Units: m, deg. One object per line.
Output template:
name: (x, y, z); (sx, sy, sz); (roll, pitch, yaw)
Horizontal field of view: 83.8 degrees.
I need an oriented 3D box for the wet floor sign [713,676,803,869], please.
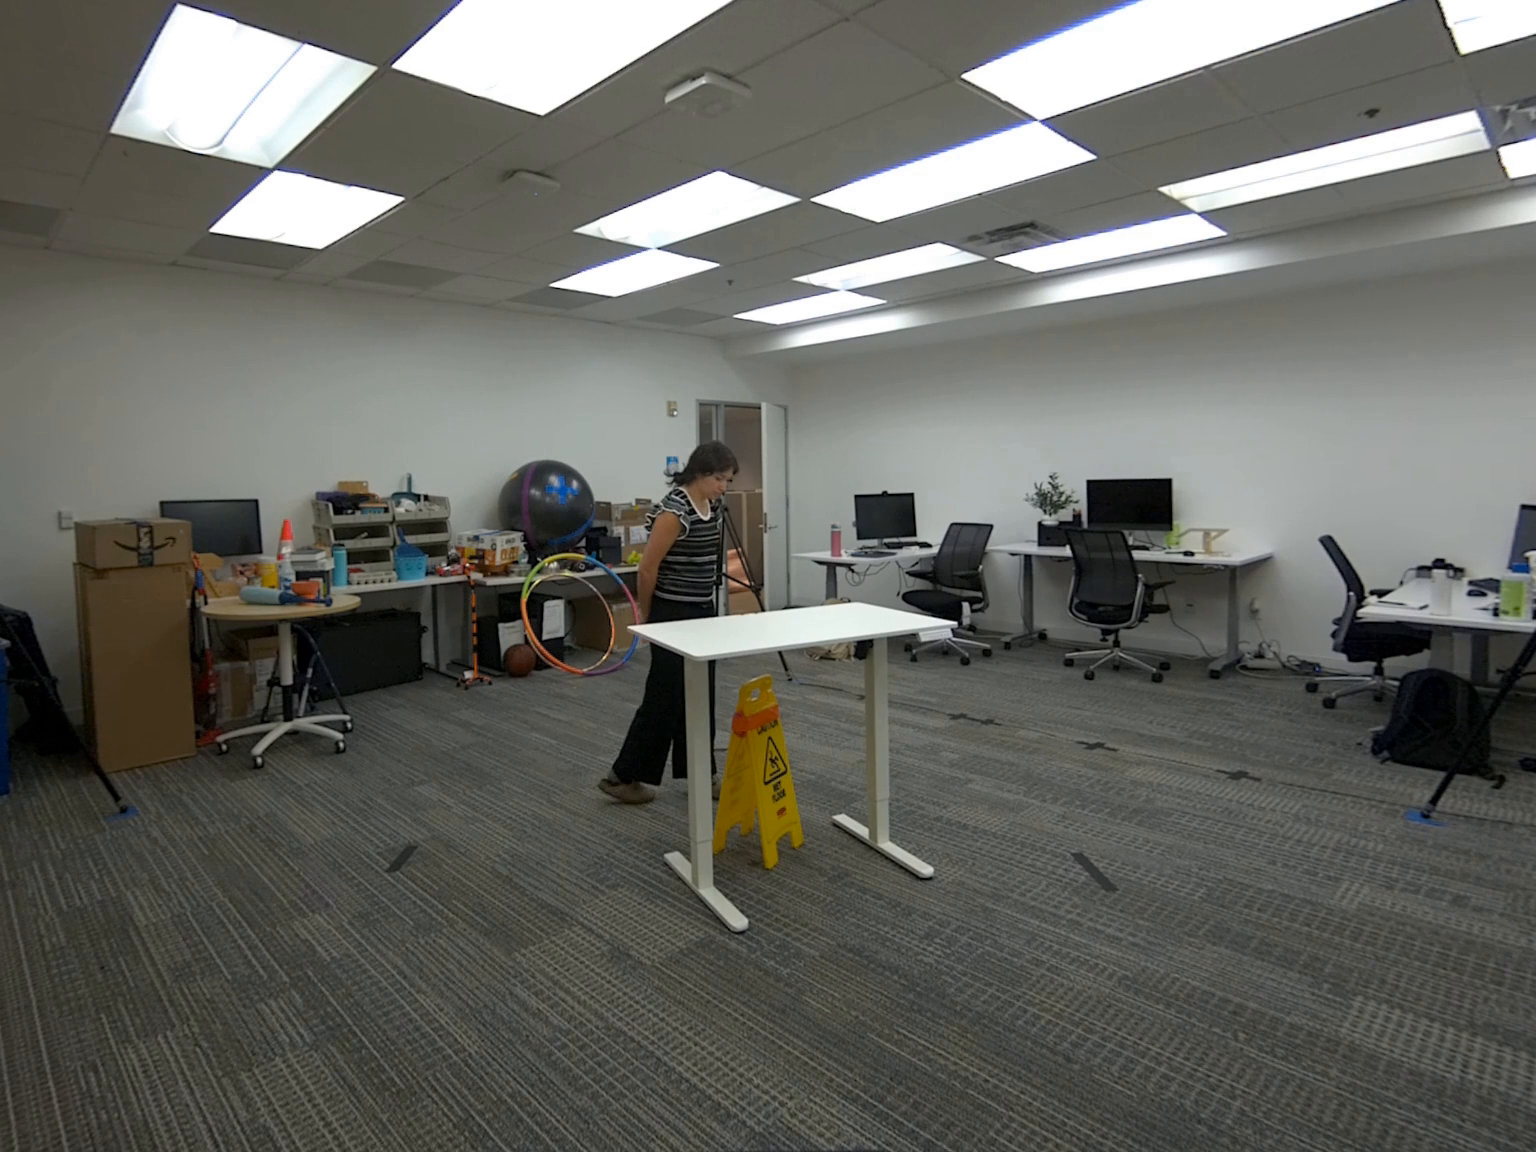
wet floor sign: (-0.039, 0.708, 3.212); (0.298, 0.644, 0.275); (2, 5, 32)
